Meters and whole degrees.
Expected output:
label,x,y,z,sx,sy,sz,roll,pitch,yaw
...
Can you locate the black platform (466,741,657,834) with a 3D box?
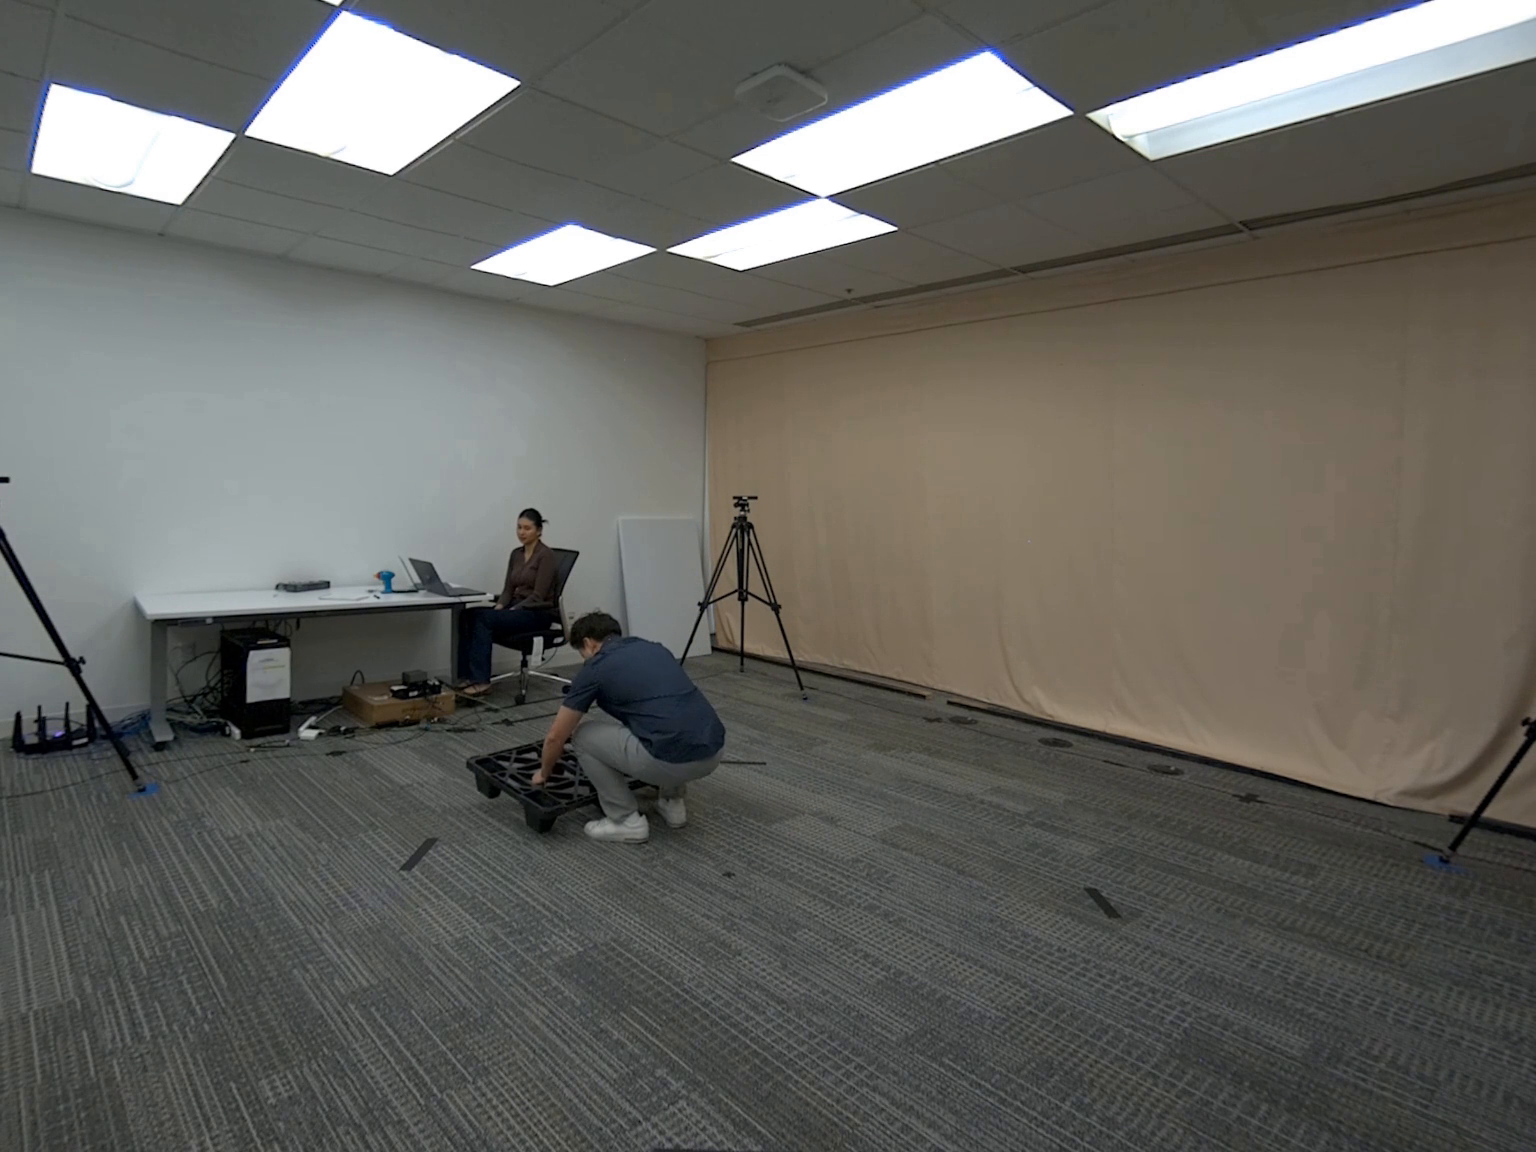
label,x,y,z,sx,sy,sz,roll,pitch,yaw
black platform,-0.873,0.904,3.814,0.622,0.142,0.788,14,12,39
